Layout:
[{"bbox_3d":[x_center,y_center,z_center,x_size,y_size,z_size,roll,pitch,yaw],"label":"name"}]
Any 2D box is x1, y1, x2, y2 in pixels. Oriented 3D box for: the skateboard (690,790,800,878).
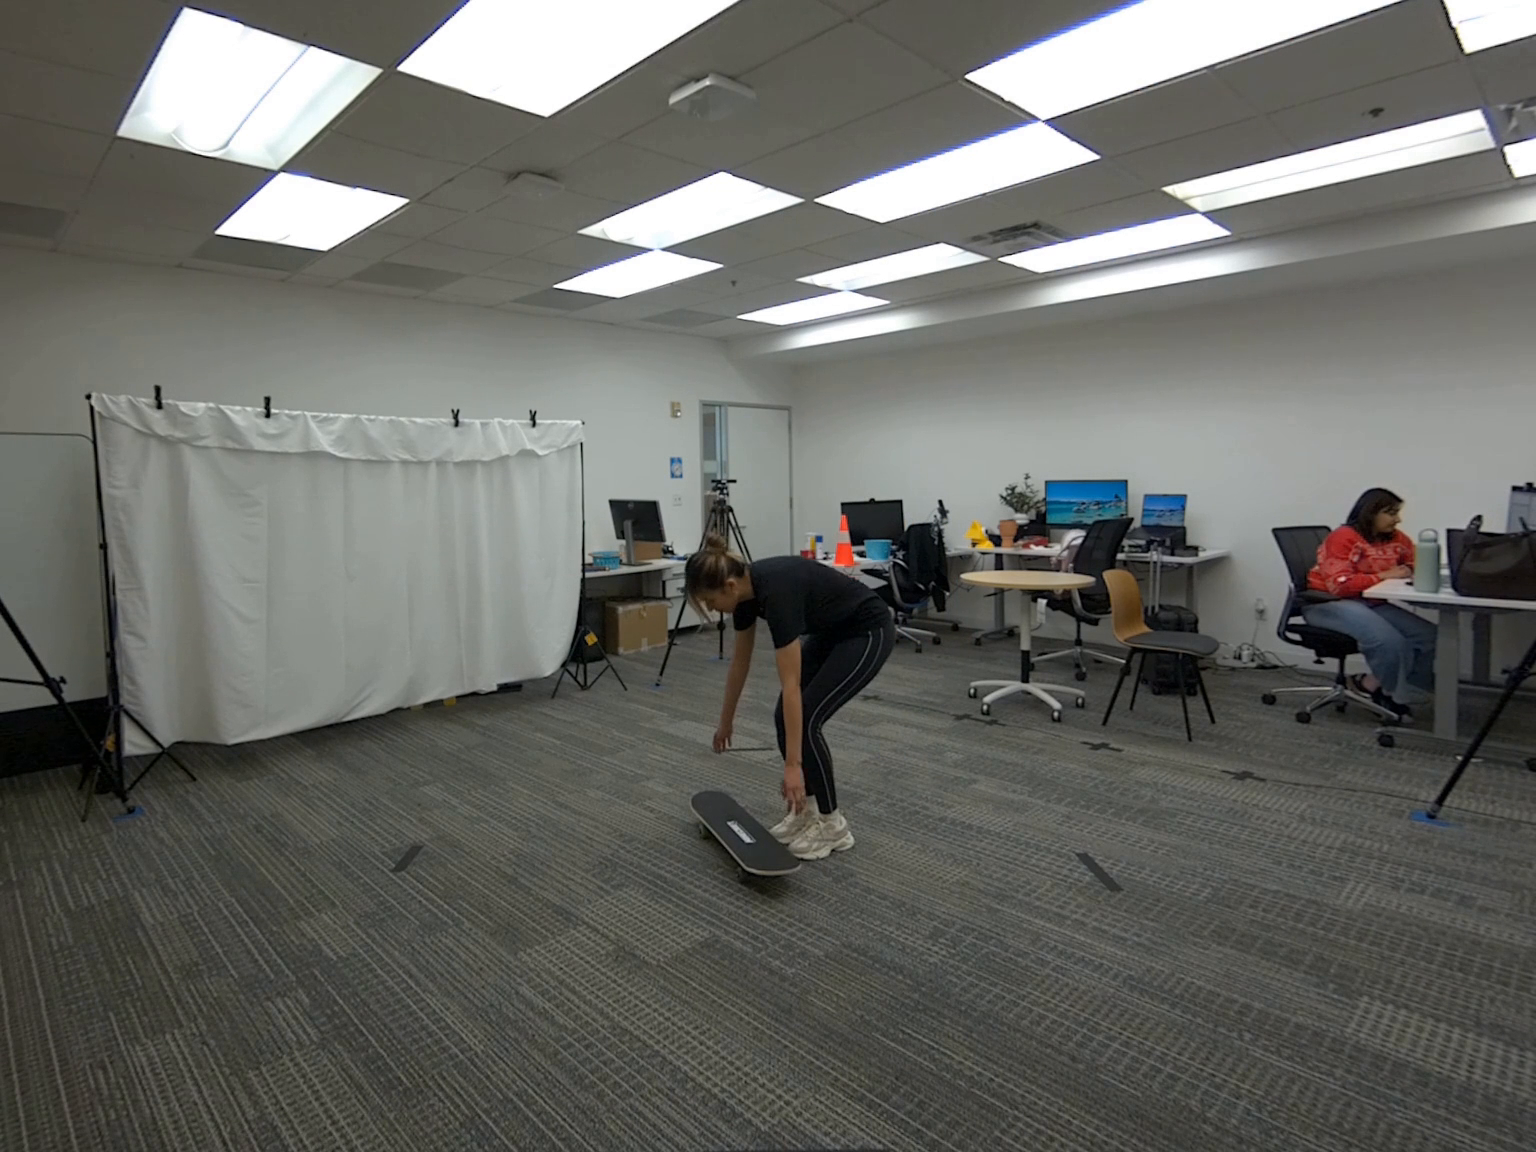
[{"bbox_3d":[-0.096,0.981,3.179,0.190,0.110,0.803,-3,6,-22],"label":"skateboard"}]
